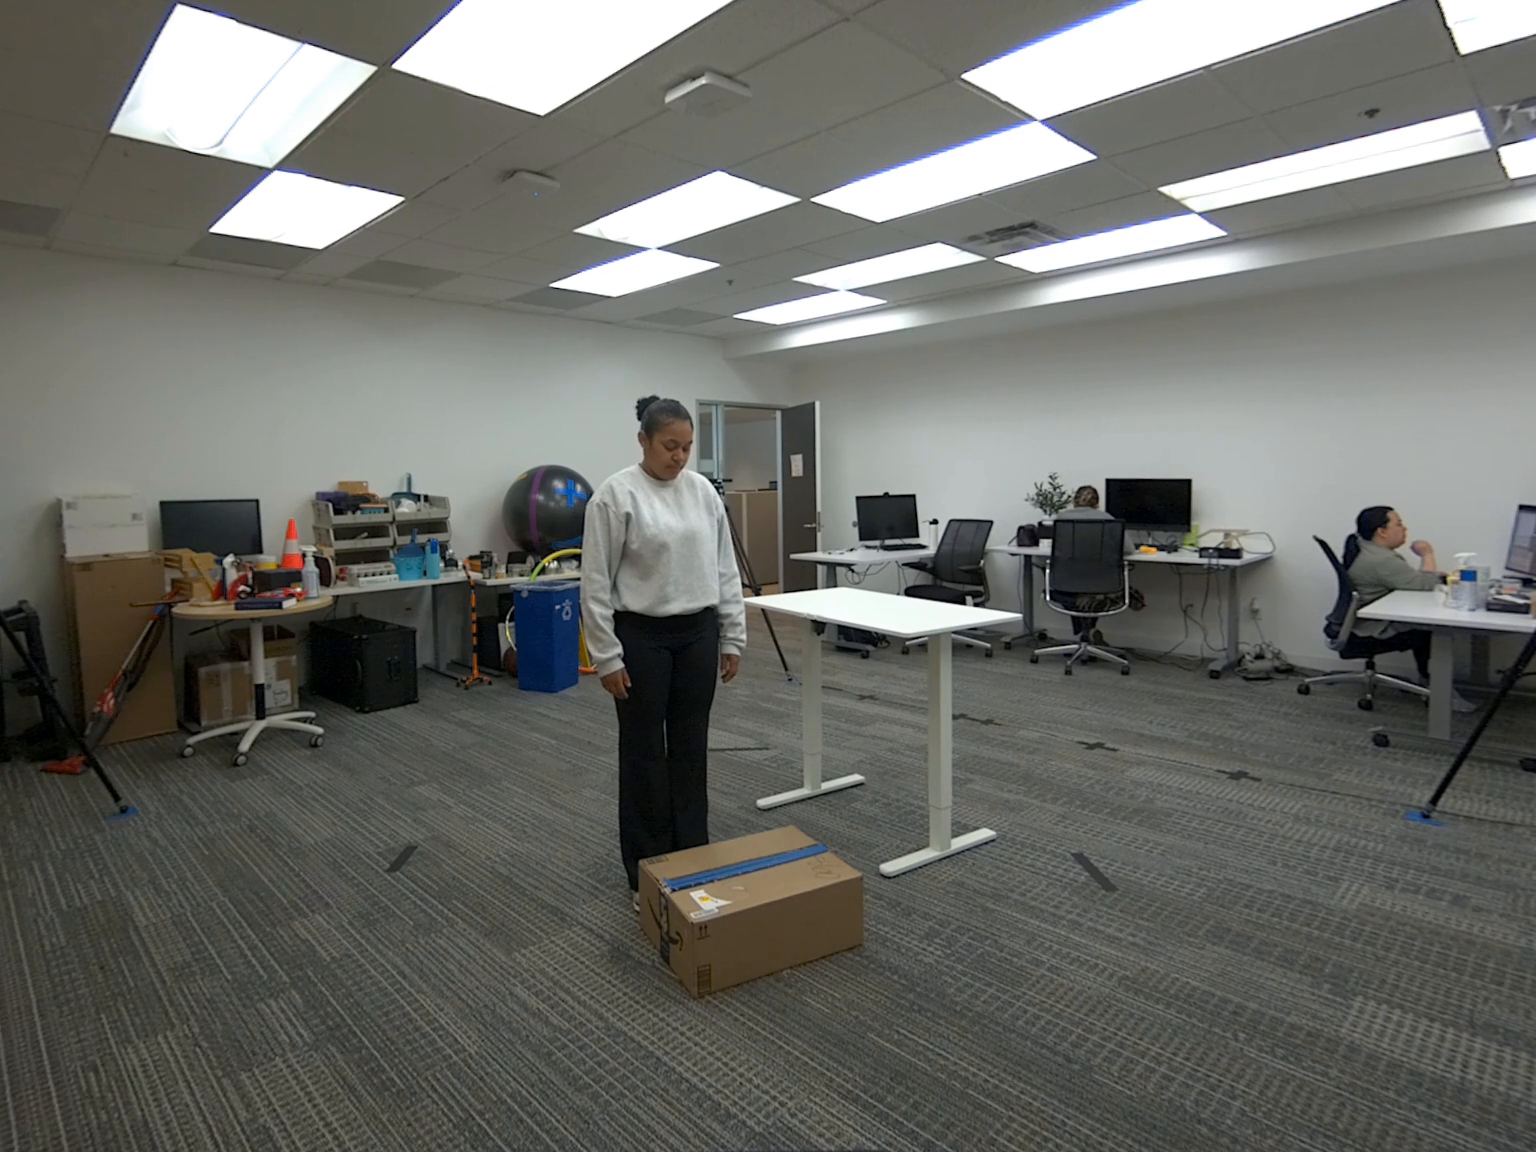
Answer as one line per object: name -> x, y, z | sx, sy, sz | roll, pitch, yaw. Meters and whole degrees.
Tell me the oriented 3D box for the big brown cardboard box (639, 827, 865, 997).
big brown cardboard box -> -0.058, 0.993, 2.604 | 0.576, 0.232, 0.429 | -4, 7, -28
